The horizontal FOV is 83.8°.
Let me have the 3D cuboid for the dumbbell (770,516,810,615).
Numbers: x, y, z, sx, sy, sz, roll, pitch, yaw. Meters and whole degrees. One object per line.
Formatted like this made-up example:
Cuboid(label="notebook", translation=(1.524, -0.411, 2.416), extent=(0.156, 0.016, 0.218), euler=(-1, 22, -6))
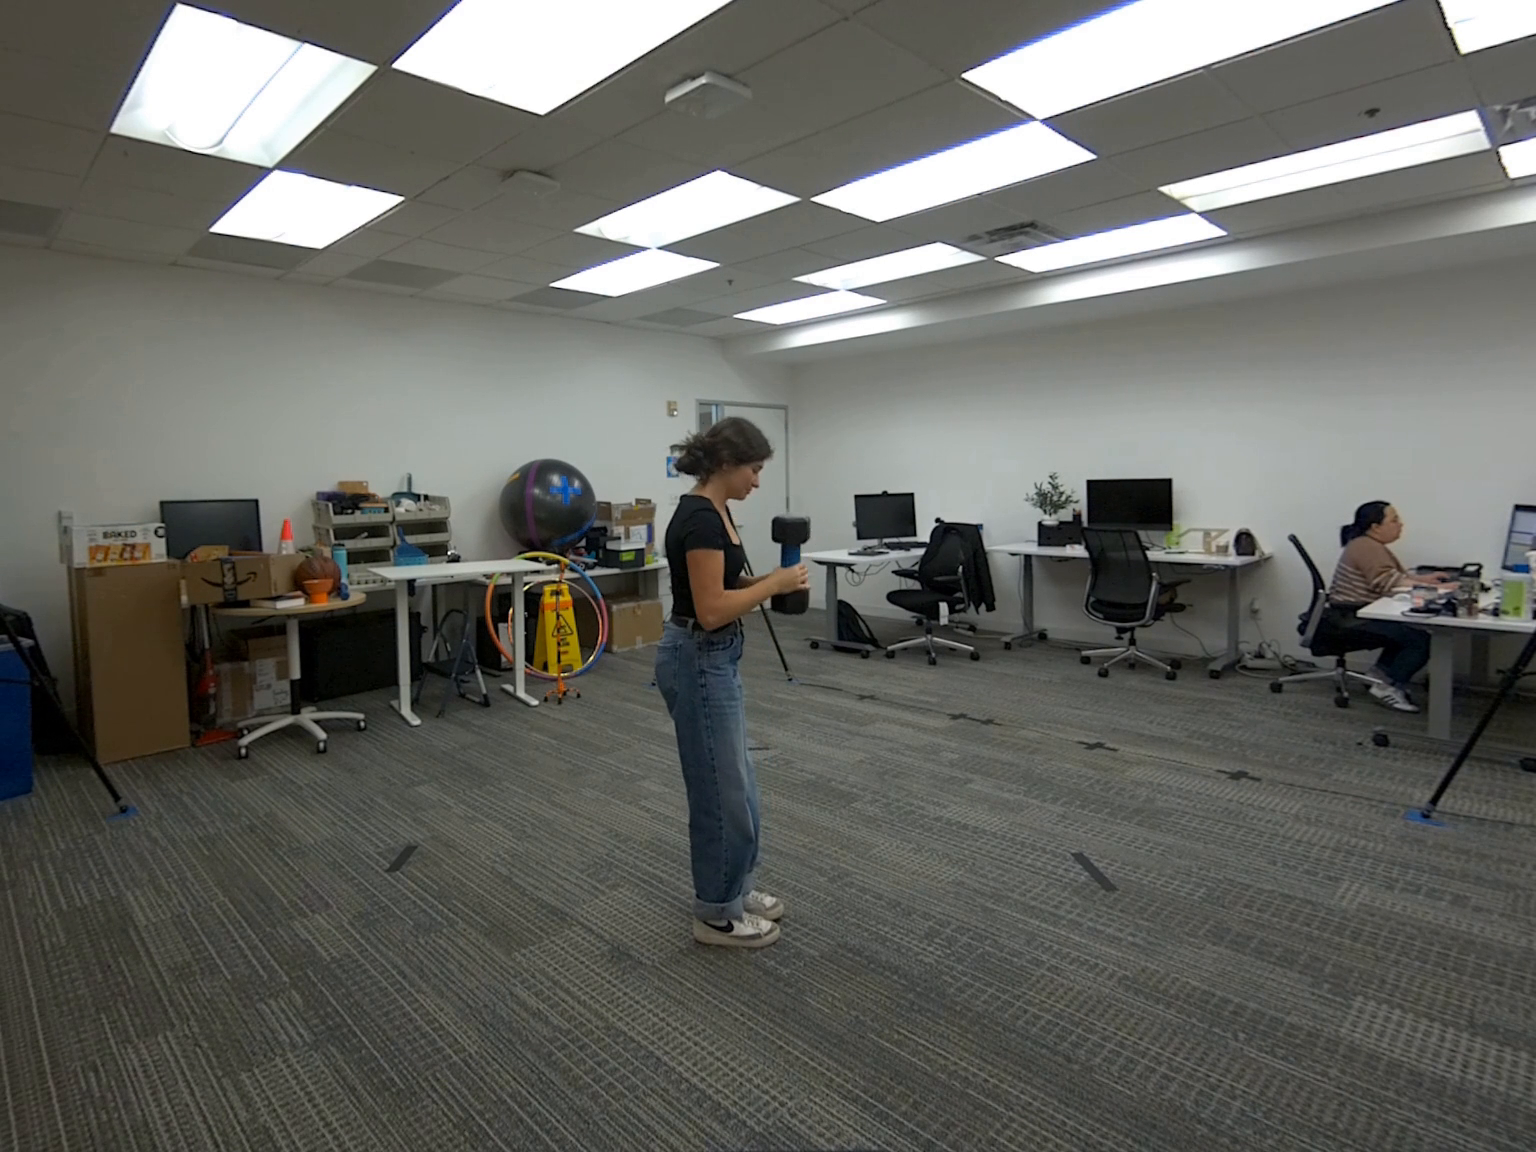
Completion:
Cuboid(label="dumbbell", translation=(0.064, -0.040, 2.546), extent=(0.121, 0.291, 0.111), euler=(0, 8, -13))
